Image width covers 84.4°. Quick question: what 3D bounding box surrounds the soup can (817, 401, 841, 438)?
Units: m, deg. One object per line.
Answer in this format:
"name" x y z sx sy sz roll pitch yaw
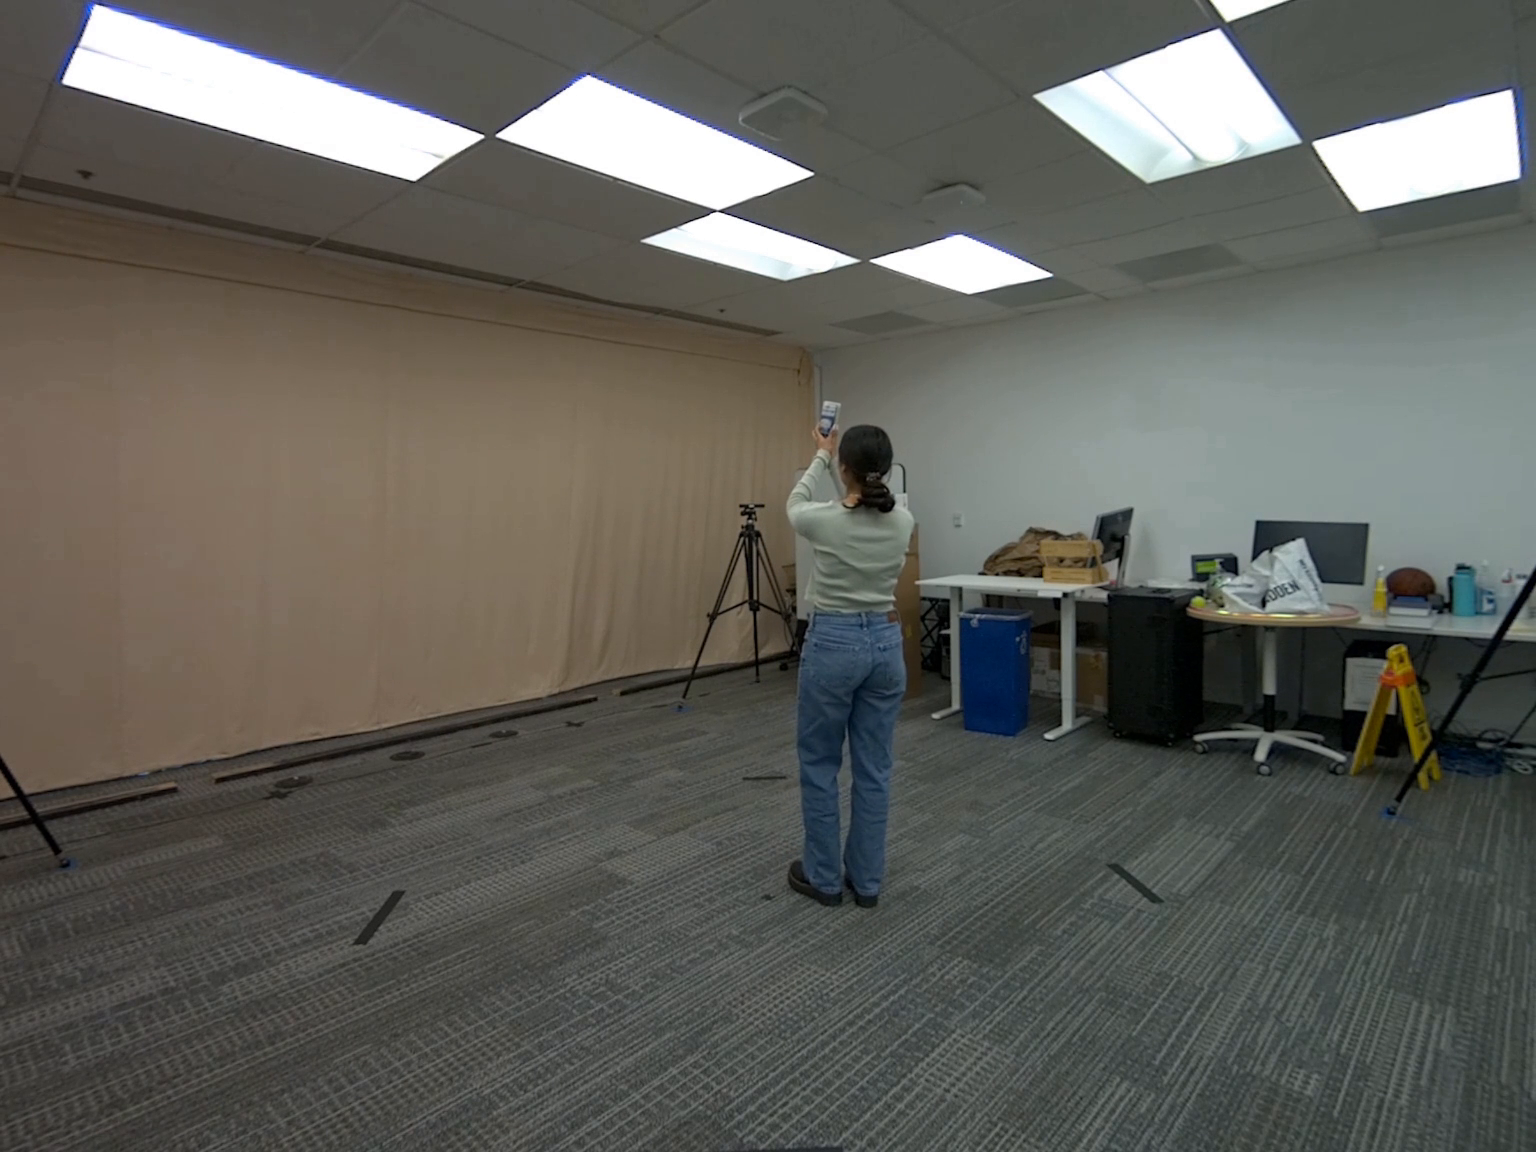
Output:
"soup can" 0.235 -0.601 3.202 0.067 0.121 0.067 7 7 -3
